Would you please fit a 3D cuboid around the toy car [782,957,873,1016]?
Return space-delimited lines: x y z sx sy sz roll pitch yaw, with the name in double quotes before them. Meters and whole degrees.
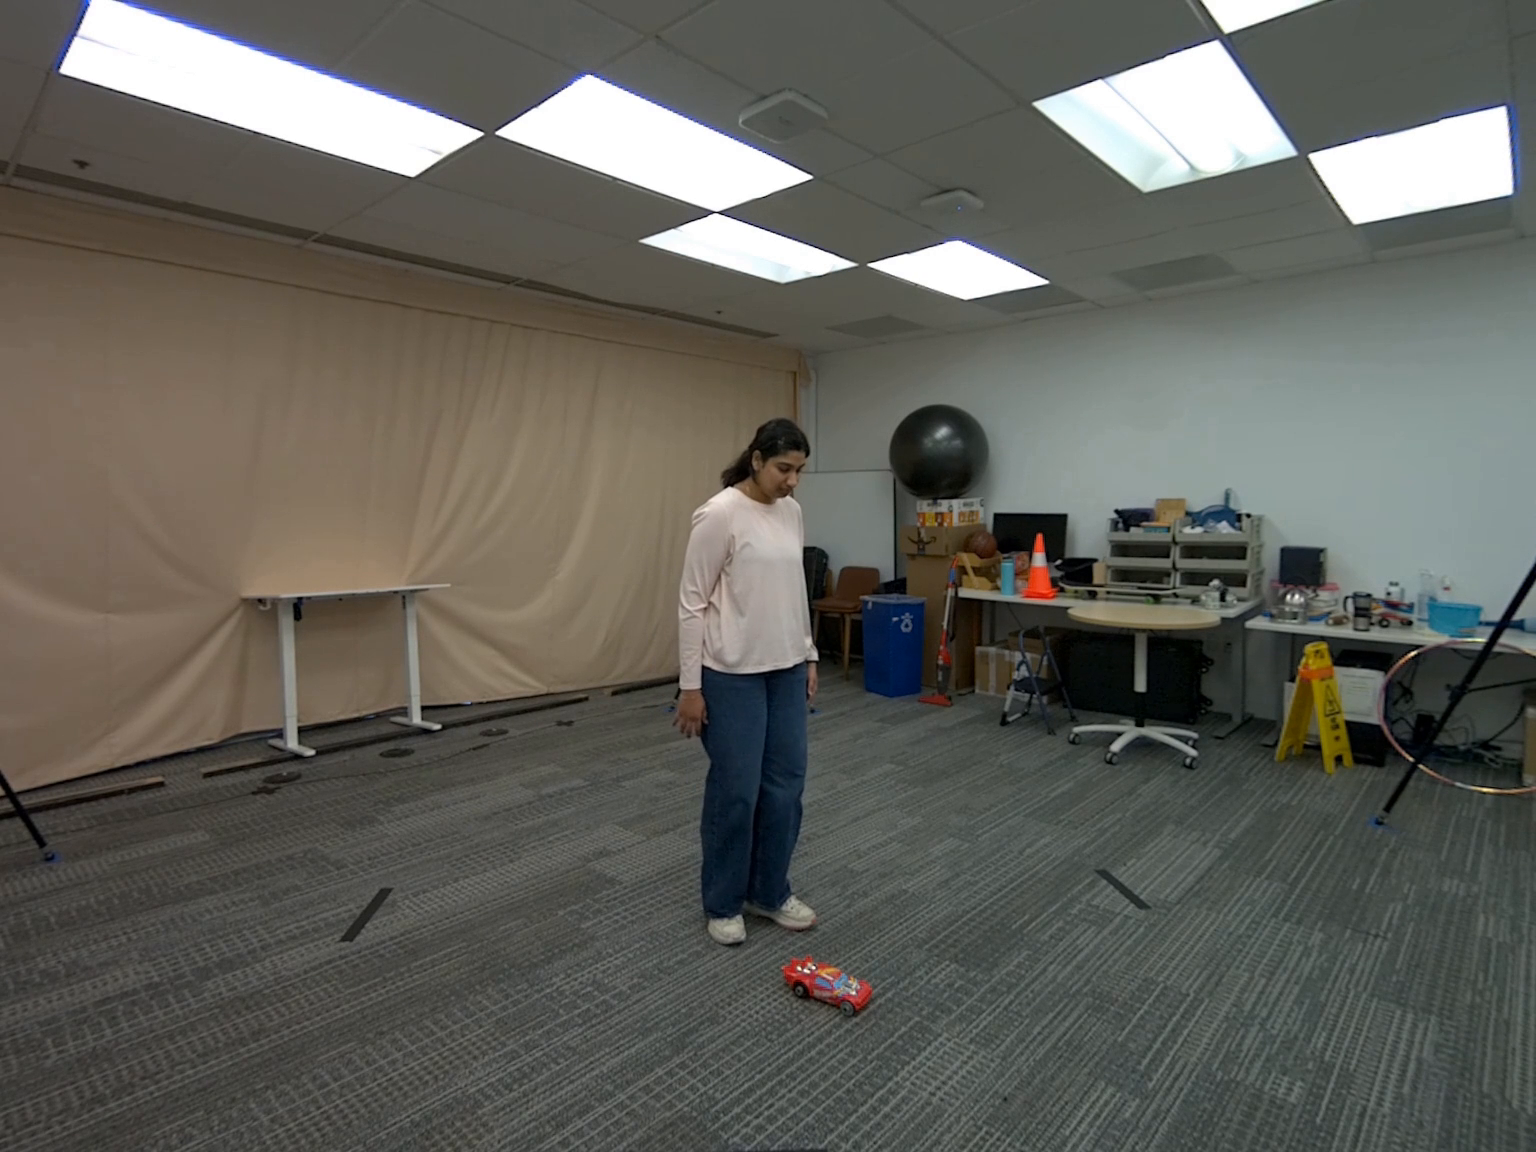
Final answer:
"toy car" 0.168 1.166 2.388 0.263 0.083 0.127 15 12 32
